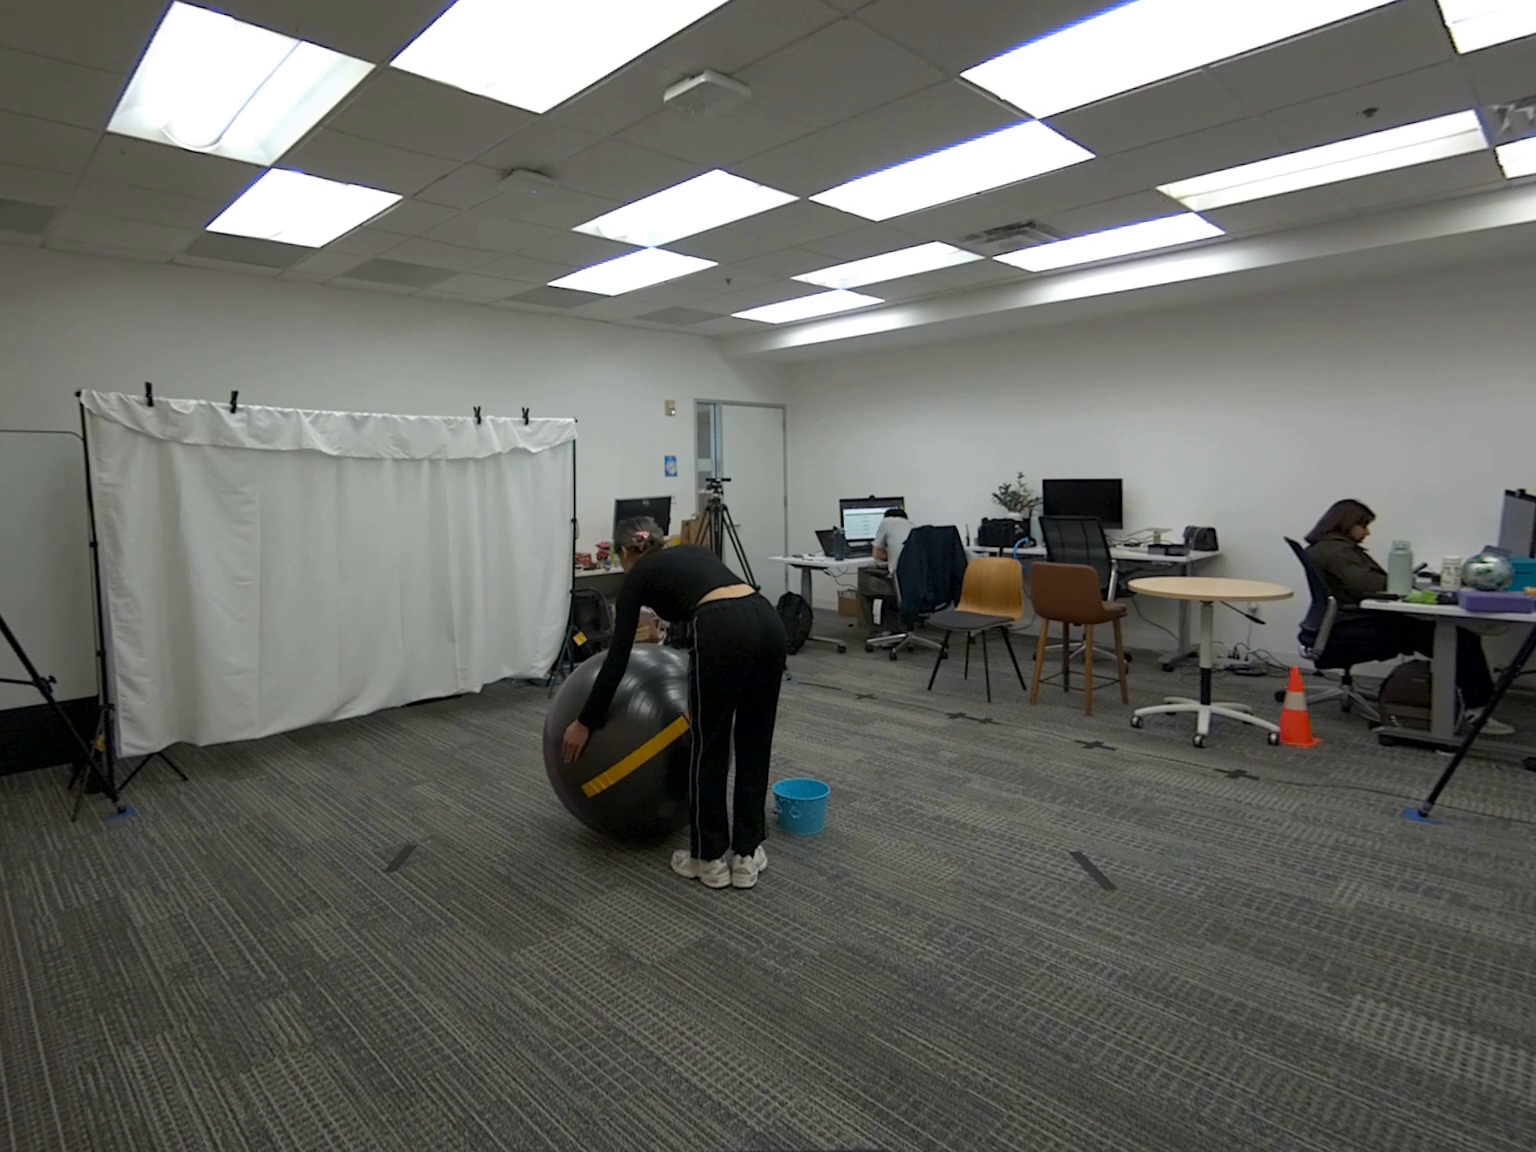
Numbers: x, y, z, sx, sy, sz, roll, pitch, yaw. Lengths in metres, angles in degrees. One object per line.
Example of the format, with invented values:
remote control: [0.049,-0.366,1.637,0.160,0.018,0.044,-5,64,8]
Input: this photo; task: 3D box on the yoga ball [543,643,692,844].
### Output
yoga ball: [-0.517,0.649,3.394,0.757,0.755,0.762,-1,5,-2]
